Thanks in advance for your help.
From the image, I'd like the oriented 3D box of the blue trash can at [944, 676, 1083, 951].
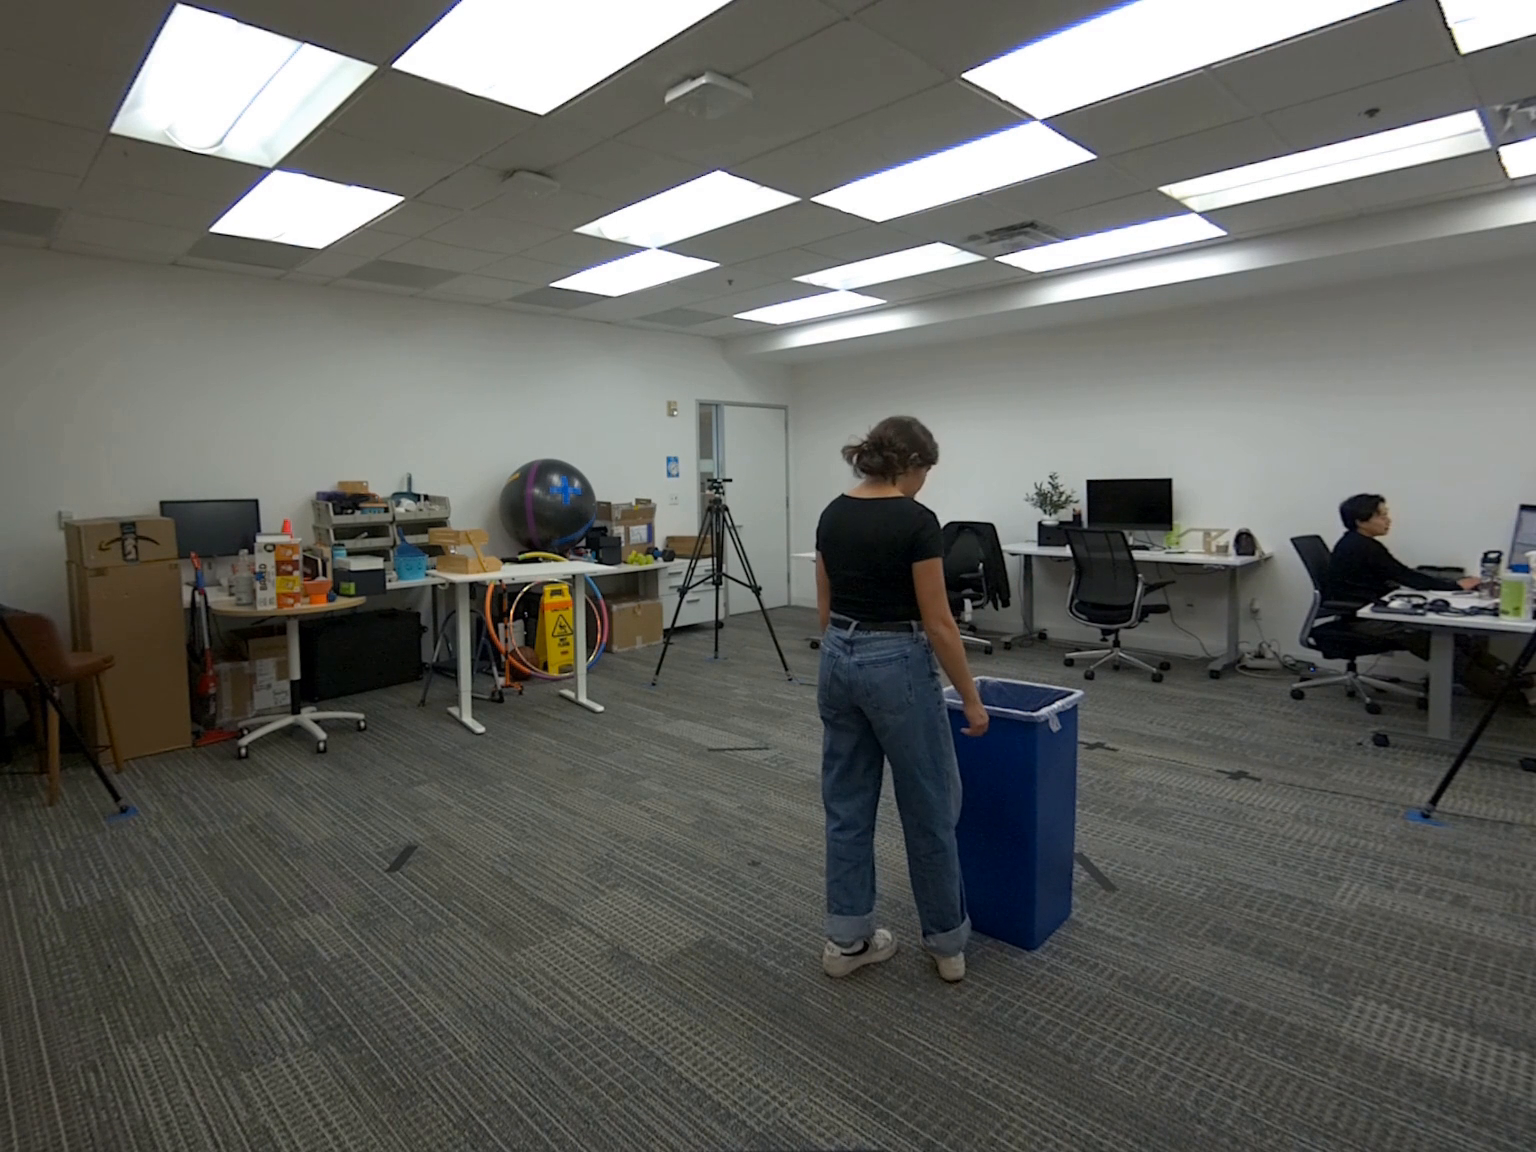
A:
[{"bbox_3d":[0.749,0.721,2.688,0.385,0.711,0.368,3,5,41],"label":"blue trash can"}]
